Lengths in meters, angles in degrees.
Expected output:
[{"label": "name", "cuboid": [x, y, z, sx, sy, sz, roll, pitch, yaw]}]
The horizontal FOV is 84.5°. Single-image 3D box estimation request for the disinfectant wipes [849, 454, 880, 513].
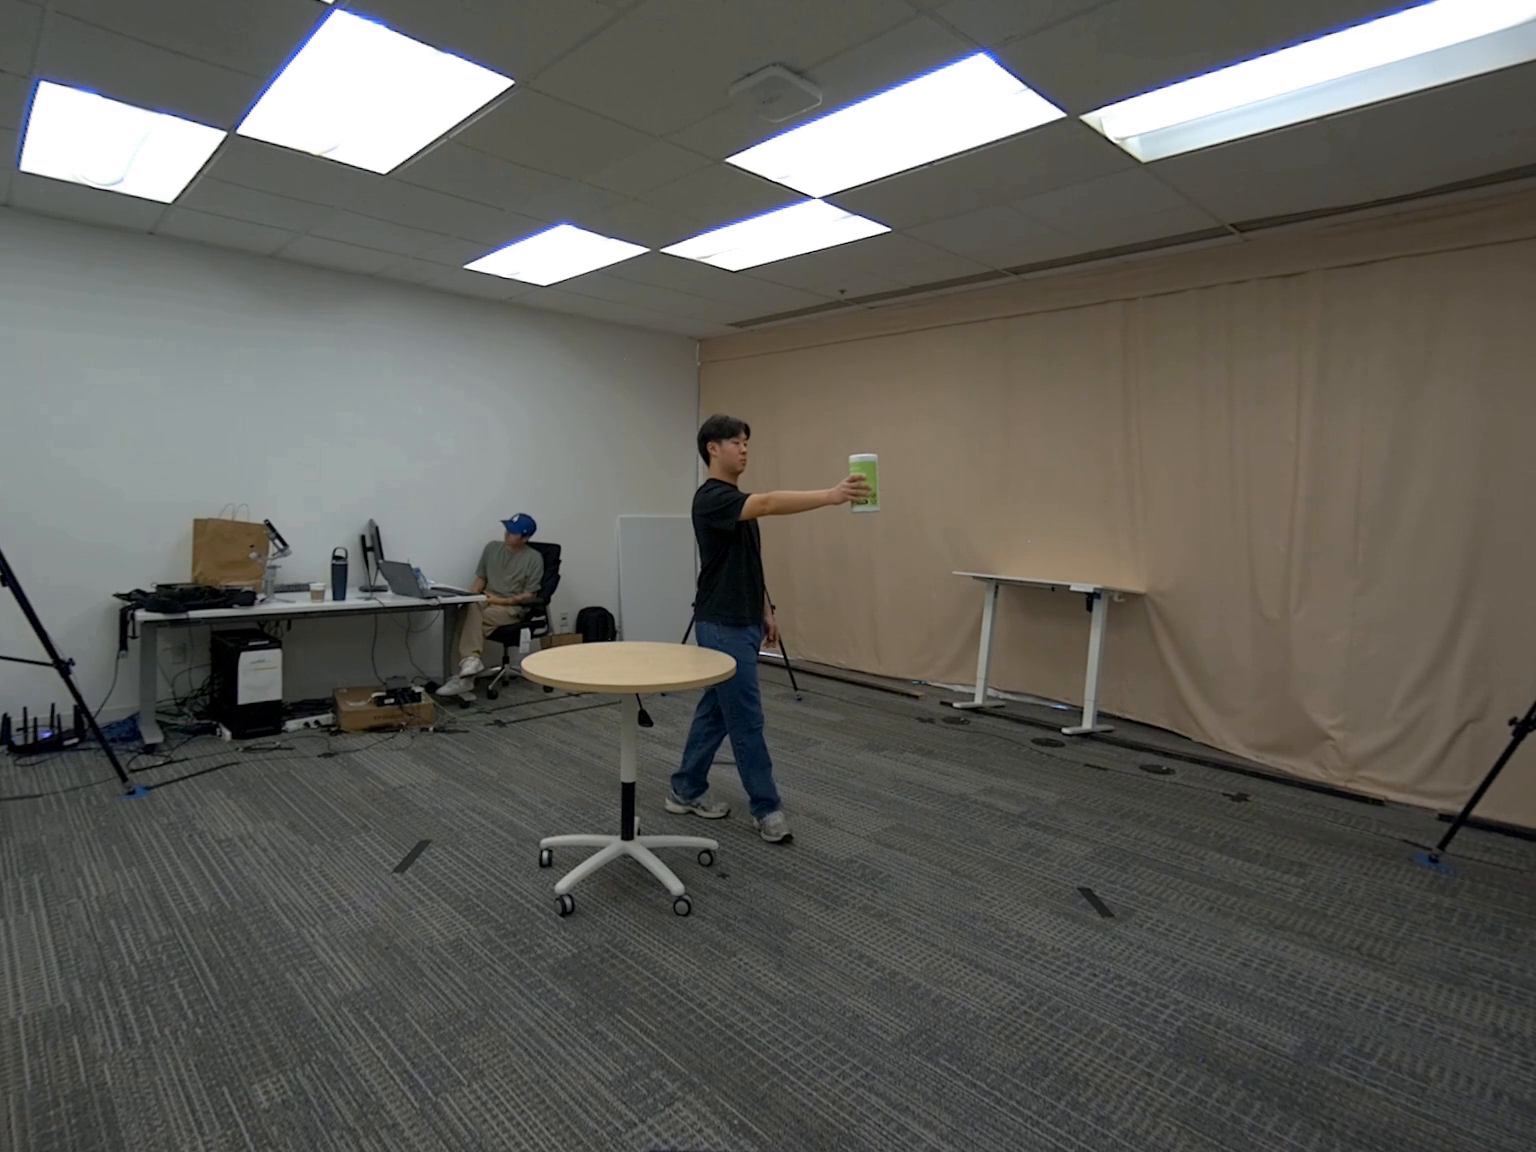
[{"label": "disinfectant wipes", "cuboid": [0.356, -0.344, 3.149, 0.118, 0.217, 0.118, -2, 2, -1]}]
